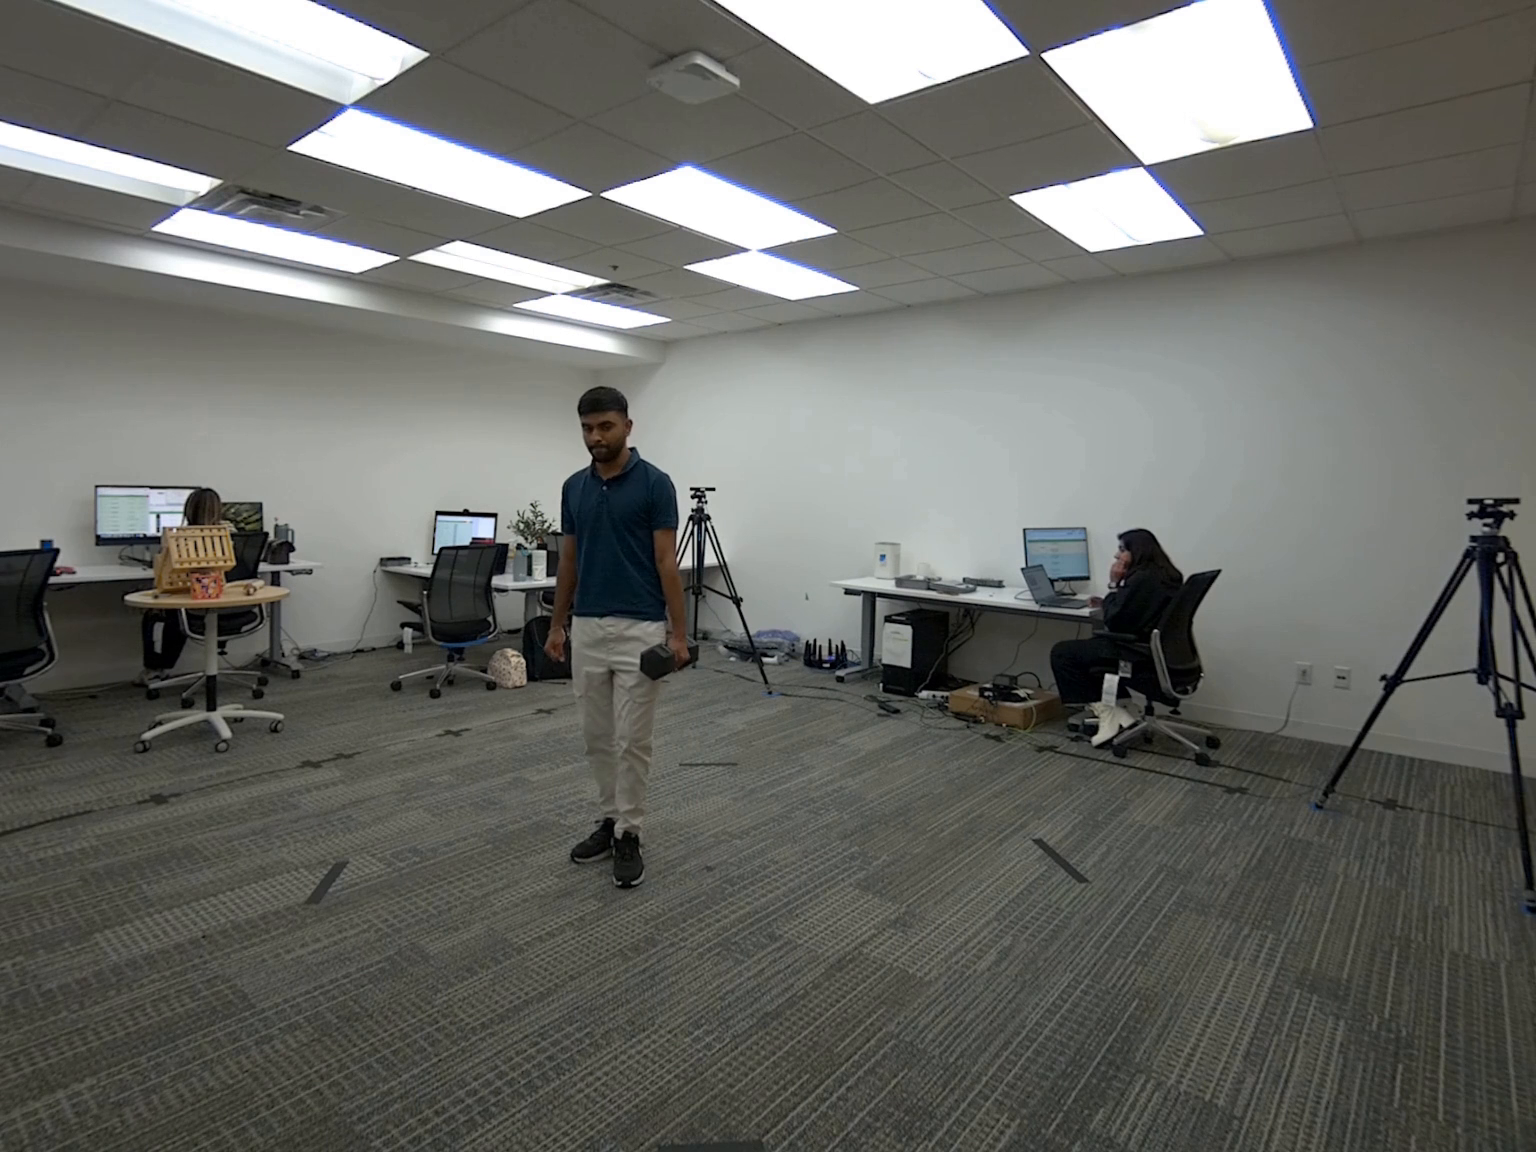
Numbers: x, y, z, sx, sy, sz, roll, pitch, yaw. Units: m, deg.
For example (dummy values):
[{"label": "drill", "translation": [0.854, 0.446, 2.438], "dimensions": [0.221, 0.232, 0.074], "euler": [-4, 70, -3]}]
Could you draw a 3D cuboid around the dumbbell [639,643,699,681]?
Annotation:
[{"label": "dumbbell", "translation": [-0.359, 0.279, 3.002], "dimensions": [0.110, 0.123, 0.289], "euler": [-19, -1, 15]}]
